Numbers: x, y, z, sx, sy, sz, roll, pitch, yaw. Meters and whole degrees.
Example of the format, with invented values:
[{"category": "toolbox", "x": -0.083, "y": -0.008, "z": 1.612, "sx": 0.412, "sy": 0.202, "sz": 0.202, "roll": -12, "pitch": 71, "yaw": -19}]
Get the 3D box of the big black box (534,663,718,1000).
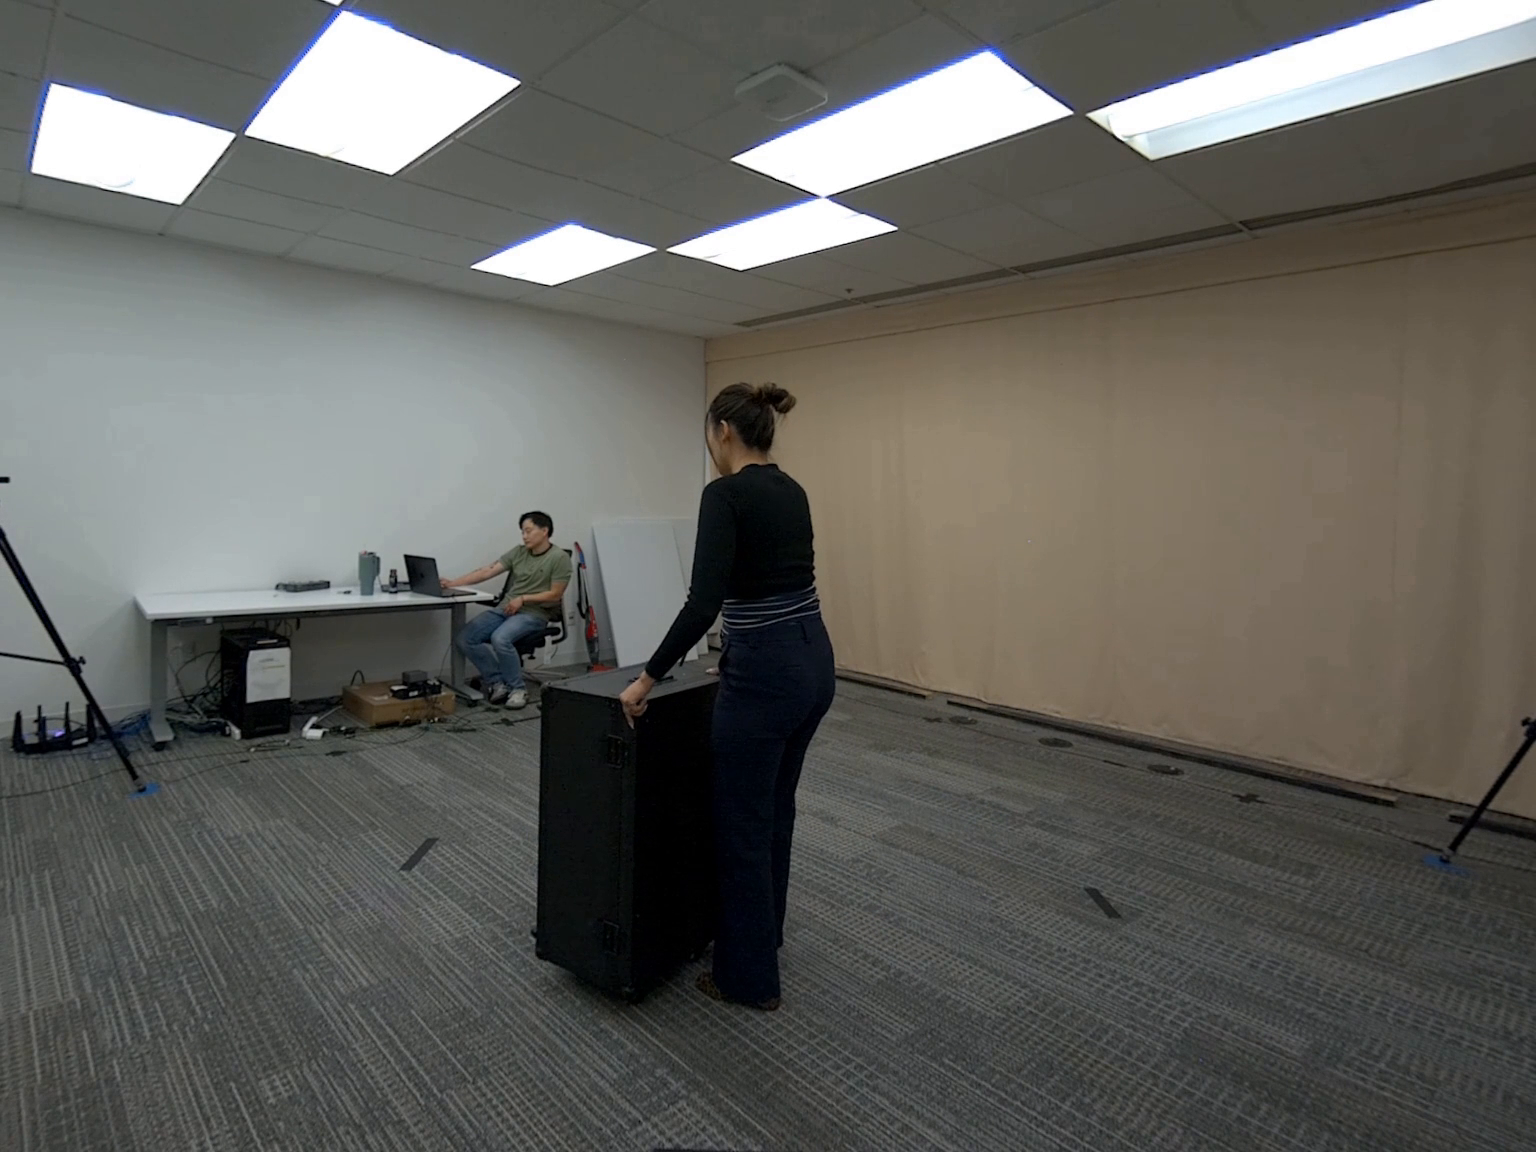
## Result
[{"category": "big black box", "x": -0.396, "y": 0.729, "z": 2.478, "sx": 0.405, "sy": 0.860, "sz": 0.510, "roll": 2, "pitch": 2, "yaw": 32}]
